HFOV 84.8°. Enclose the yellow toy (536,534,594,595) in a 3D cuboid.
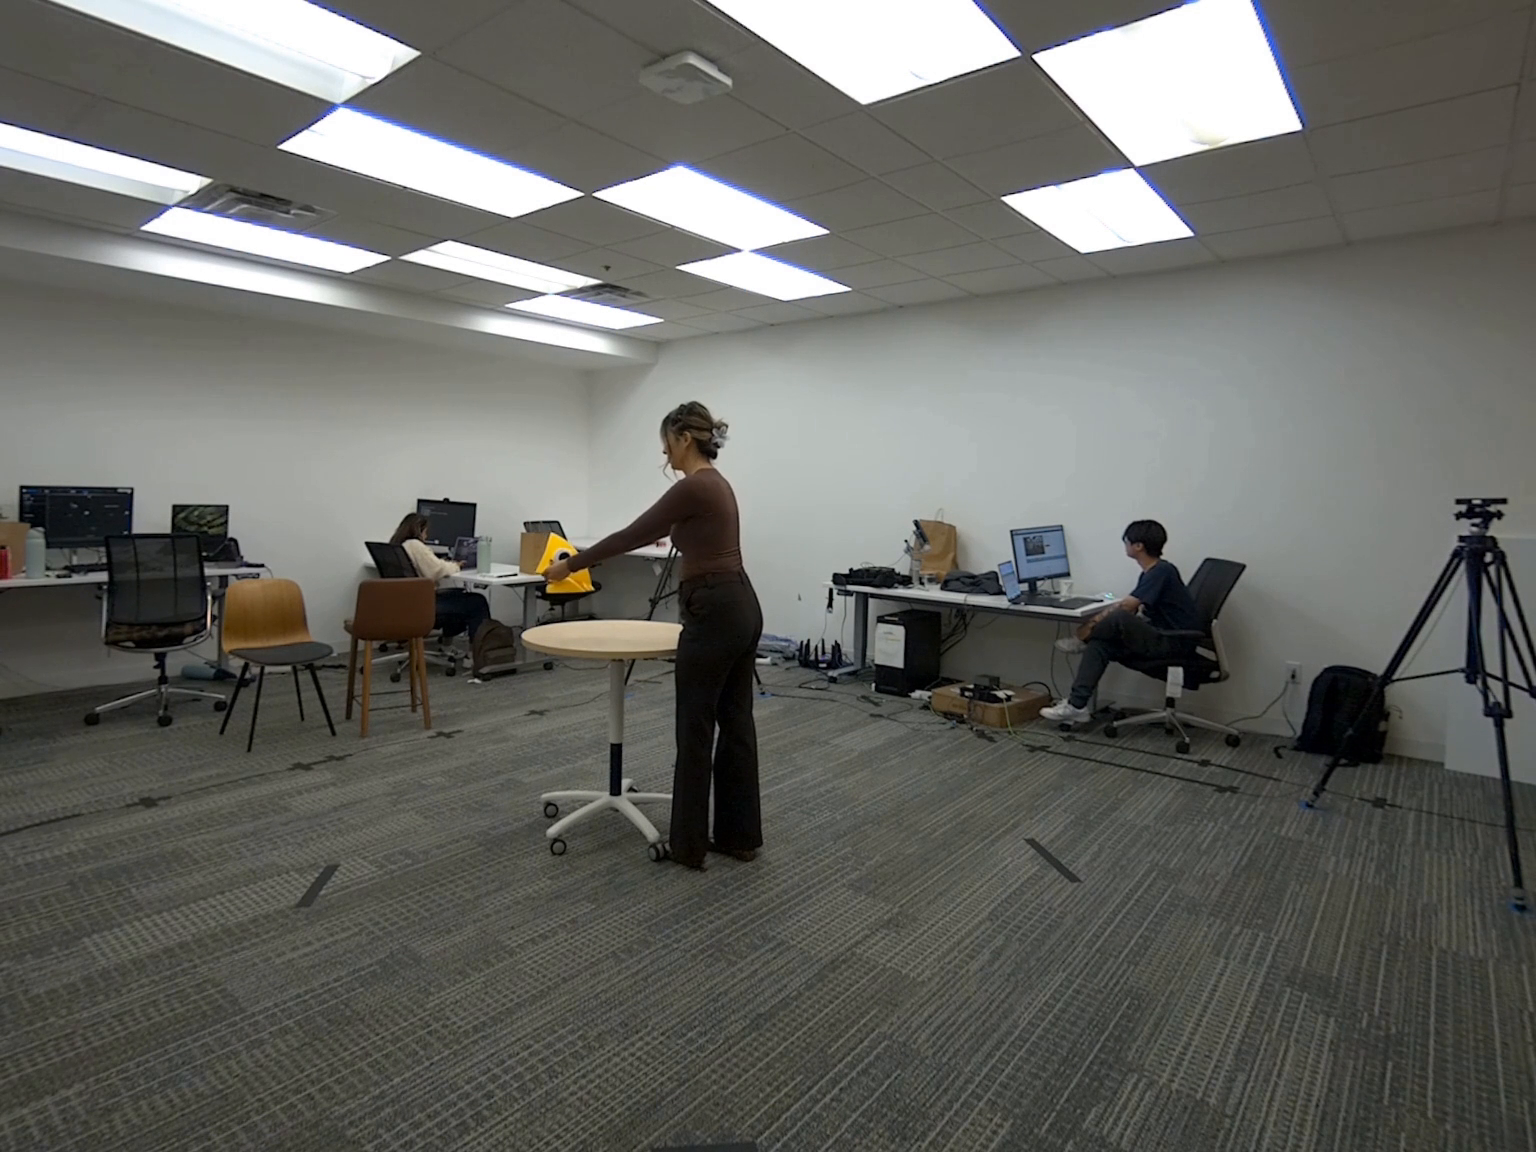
[{"bbox_3d":[-0.794,-0.059,3.295,0.194,0.231,0.203,-2,-1,5],"label":"yellow toy"}]
